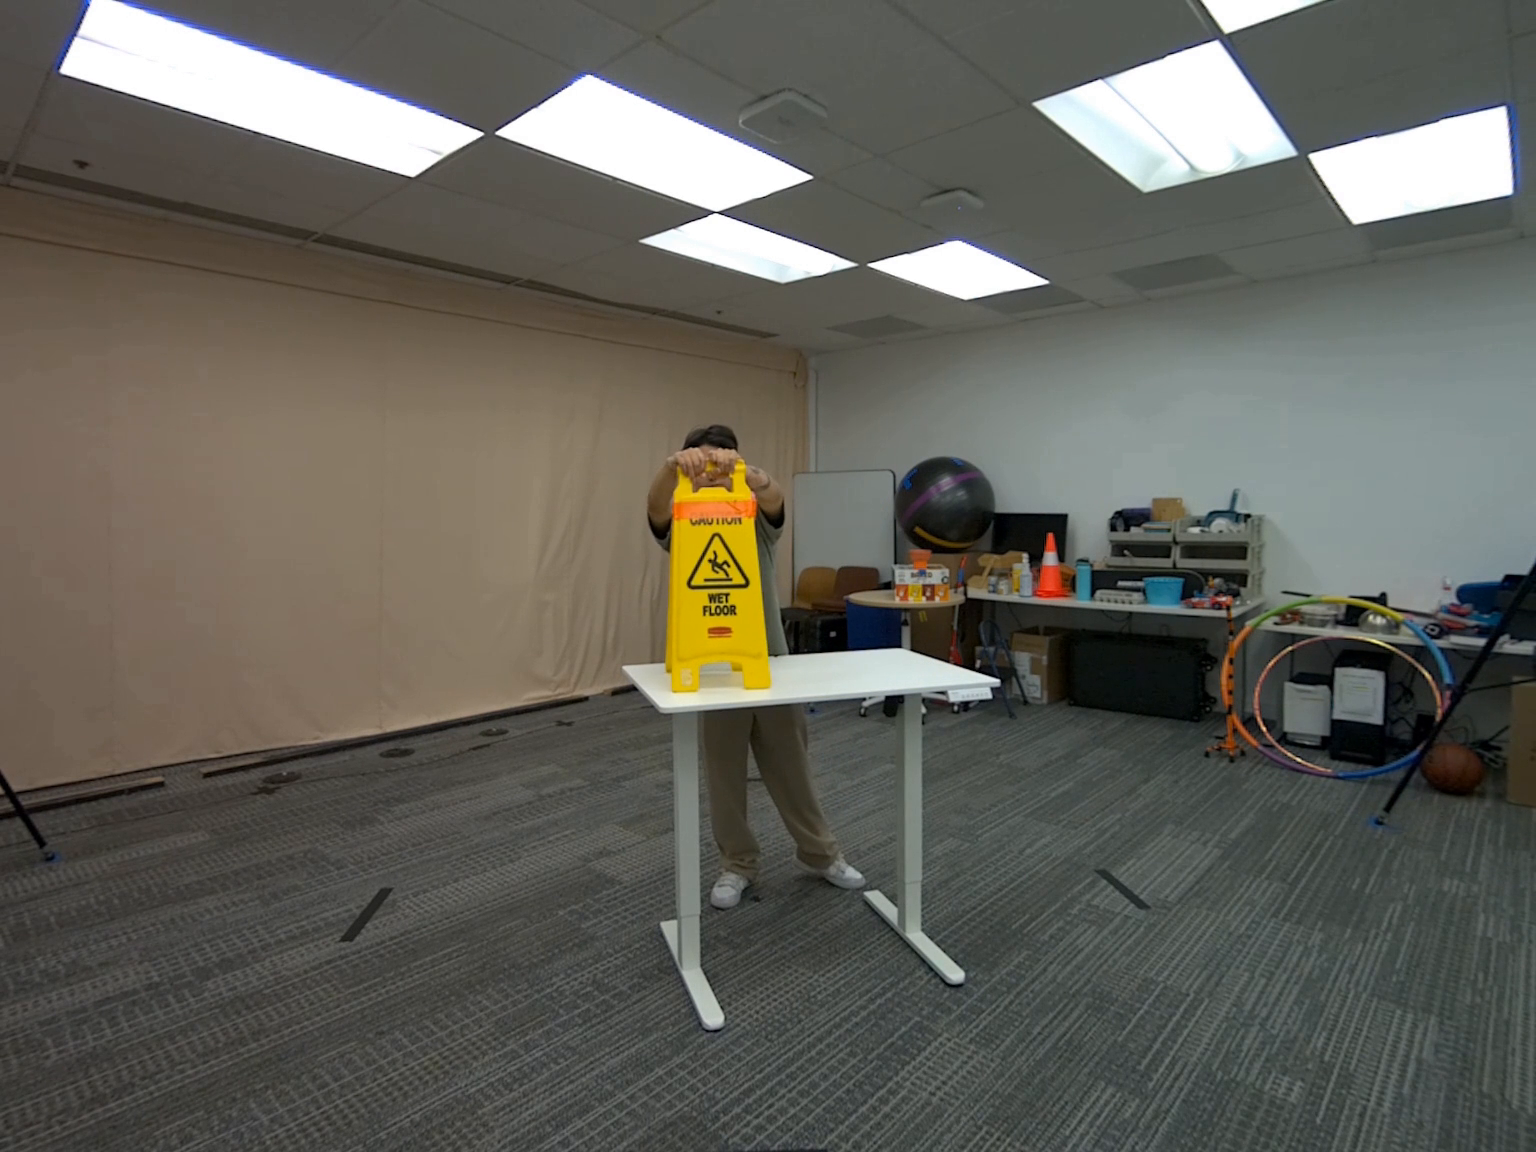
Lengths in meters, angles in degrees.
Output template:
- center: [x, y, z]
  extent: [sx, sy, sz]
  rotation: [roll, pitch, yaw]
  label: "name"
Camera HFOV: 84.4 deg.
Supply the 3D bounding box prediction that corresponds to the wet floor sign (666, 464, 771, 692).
- center: [-0.153, -0.009, 2.460]
  extent: [0.280, 0.644, 0.293]
  rotation: [-3, 4, -9]
  label: "wet floor sign"
